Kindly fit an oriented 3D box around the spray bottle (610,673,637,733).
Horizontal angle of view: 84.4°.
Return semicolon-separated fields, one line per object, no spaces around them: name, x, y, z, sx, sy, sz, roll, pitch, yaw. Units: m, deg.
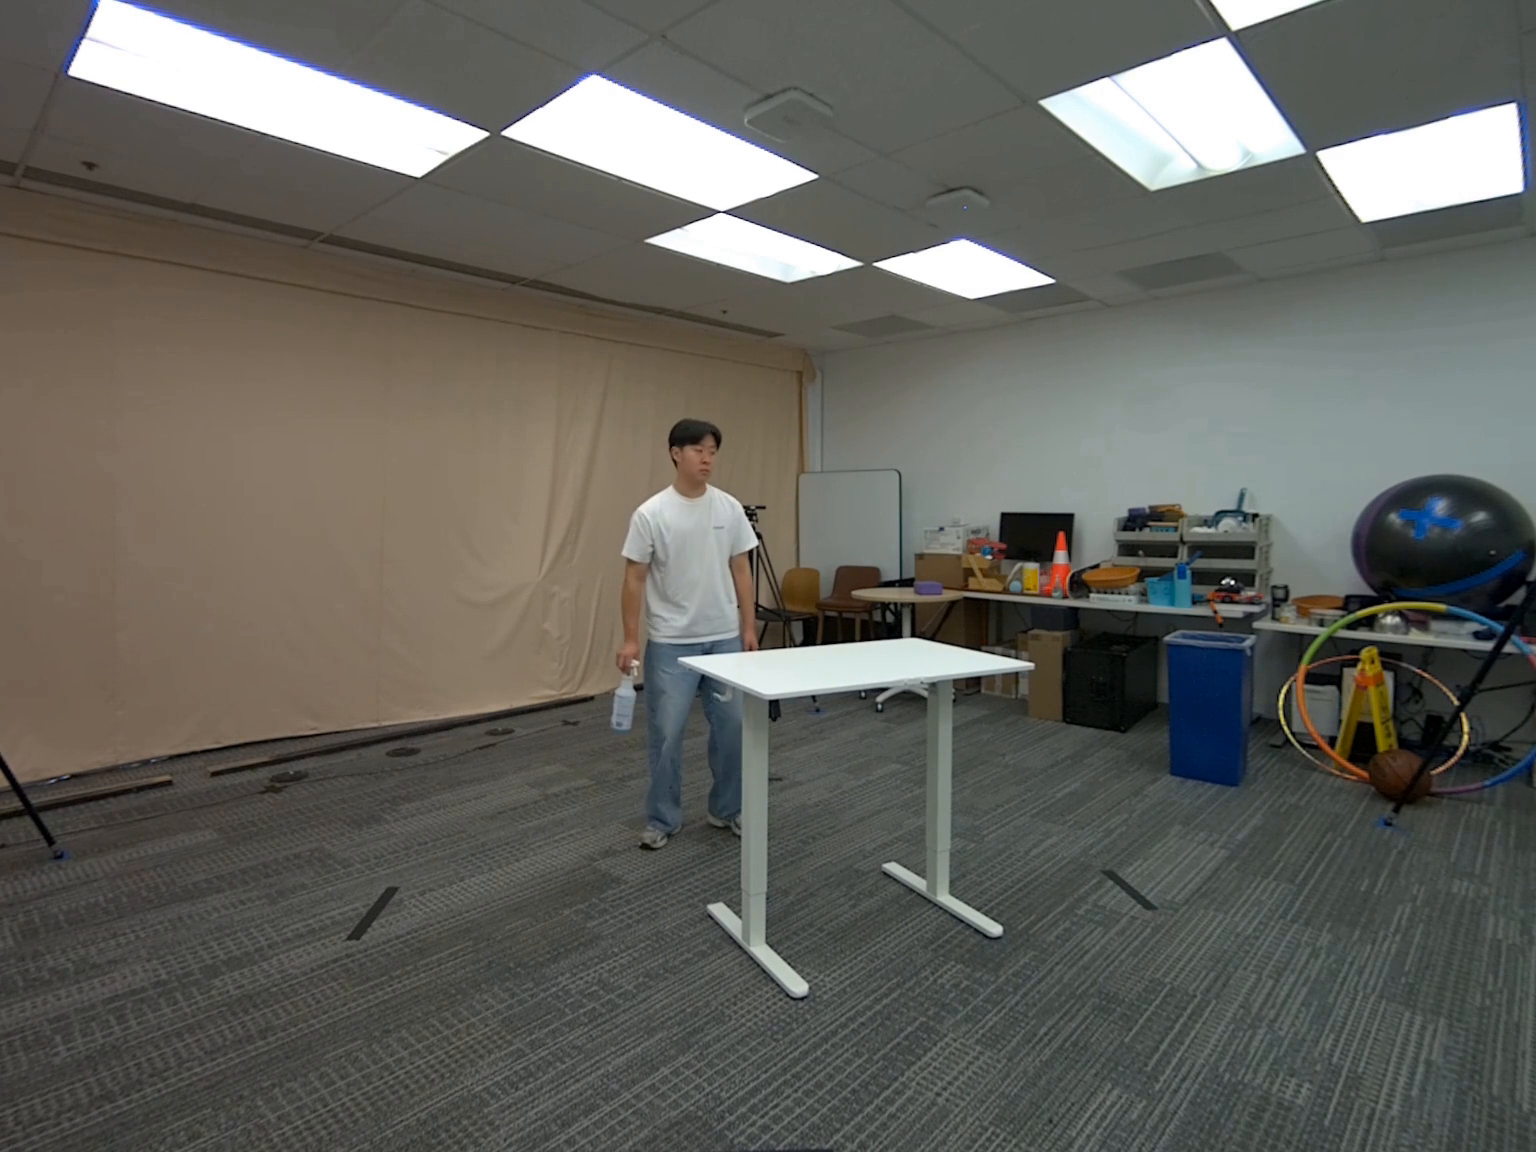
spray bottle;-0.558;0.478;3.393;0.085;0.296;0.092;5;7;-18
